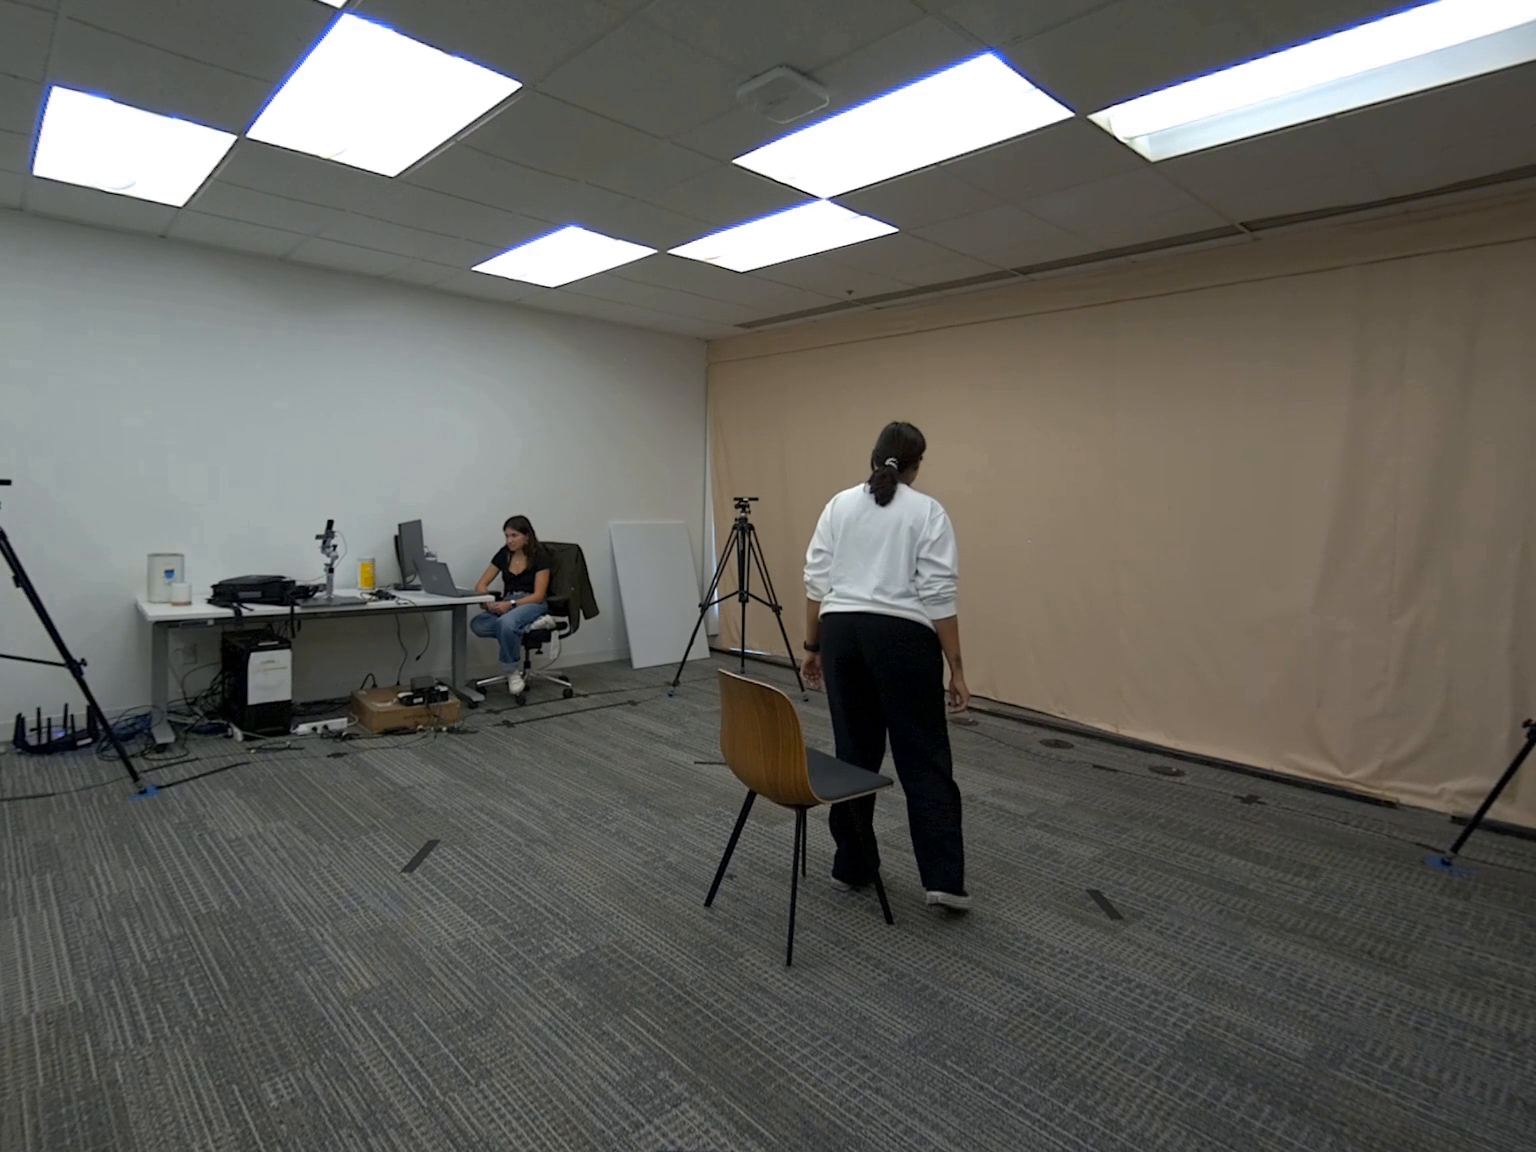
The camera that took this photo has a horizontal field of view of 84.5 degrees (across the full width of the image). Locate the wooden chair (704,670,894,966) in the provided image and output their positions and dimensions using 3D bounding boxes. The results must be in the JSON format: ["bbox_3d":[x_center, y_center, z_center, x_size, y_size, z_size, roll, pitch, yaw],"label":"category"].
[{"bbox_3d":[0.104,0.715,2.792,0.512,0.874,0.490,-6,7,-38],"label":"wooden chair"}]
